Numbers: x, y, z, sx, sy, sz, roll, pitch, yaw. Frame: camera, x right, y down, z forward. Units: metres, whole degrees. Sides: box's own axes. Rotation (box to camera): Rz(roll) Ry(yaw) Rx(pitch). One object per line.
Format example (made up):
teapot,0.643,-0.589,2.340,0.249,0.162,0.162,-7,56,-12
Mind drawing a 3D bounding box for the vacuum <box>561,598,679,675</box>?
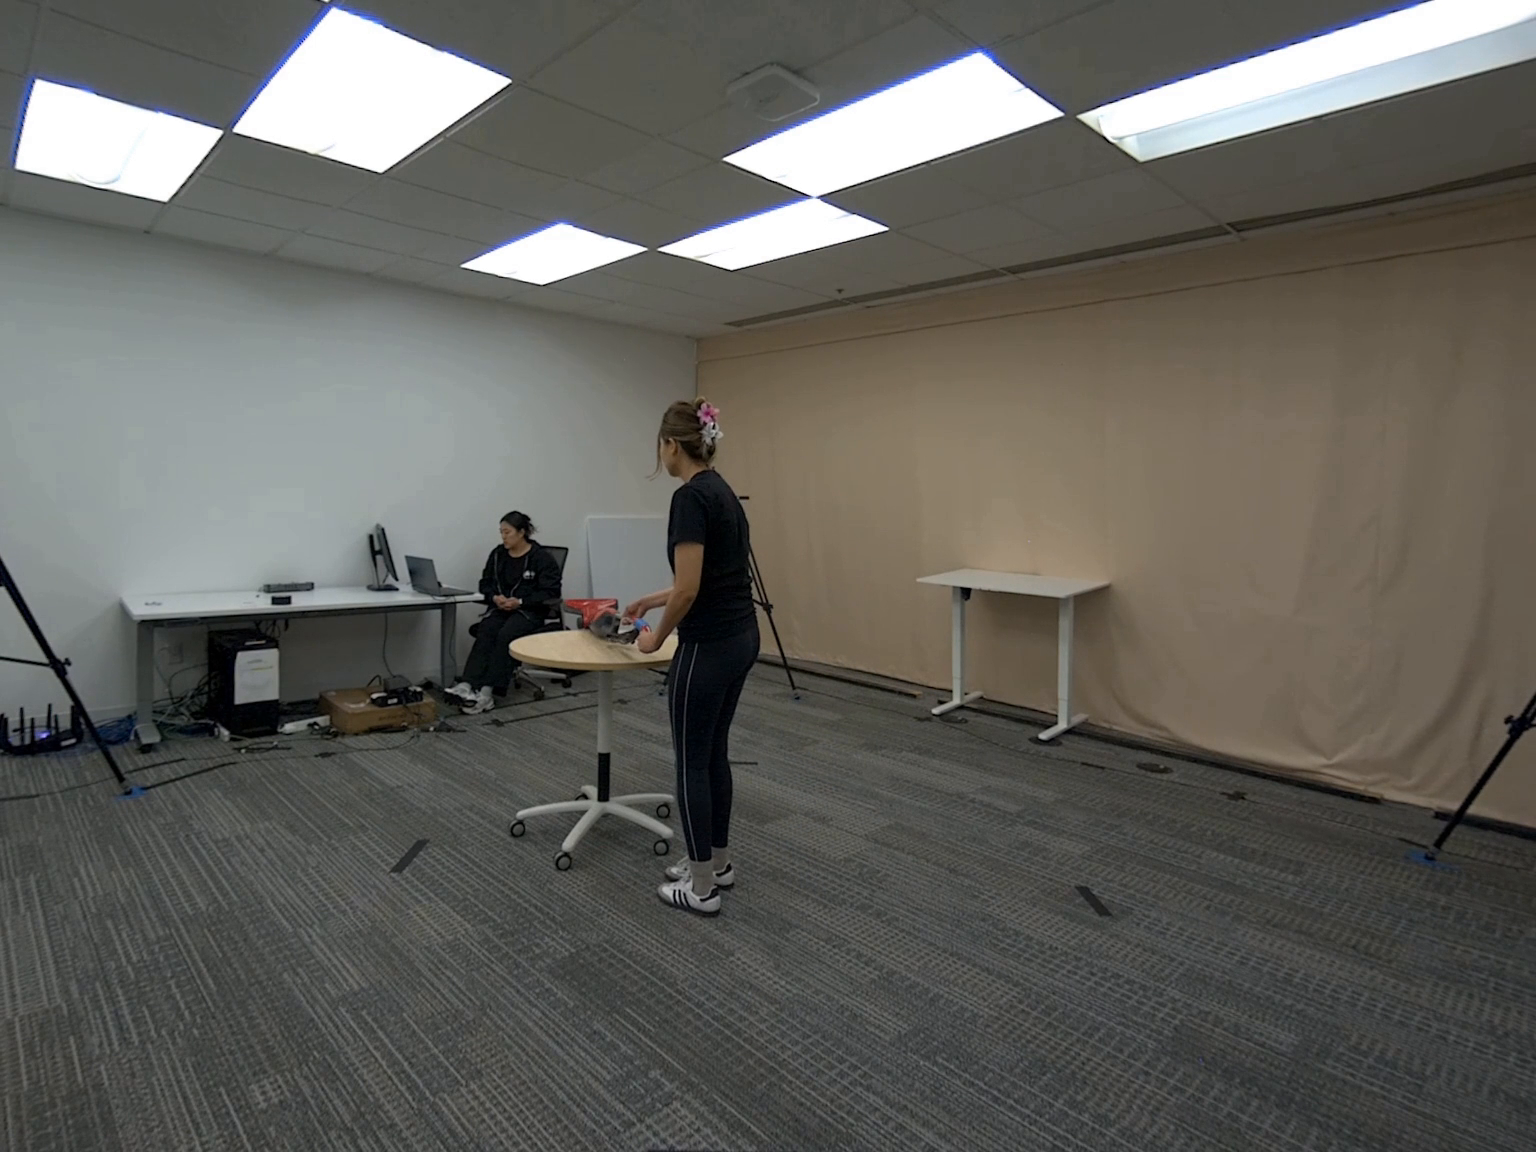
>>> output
vacuum,-0.607,0.212,3.334,0.248,0.143,1.068,-1,4,-22
